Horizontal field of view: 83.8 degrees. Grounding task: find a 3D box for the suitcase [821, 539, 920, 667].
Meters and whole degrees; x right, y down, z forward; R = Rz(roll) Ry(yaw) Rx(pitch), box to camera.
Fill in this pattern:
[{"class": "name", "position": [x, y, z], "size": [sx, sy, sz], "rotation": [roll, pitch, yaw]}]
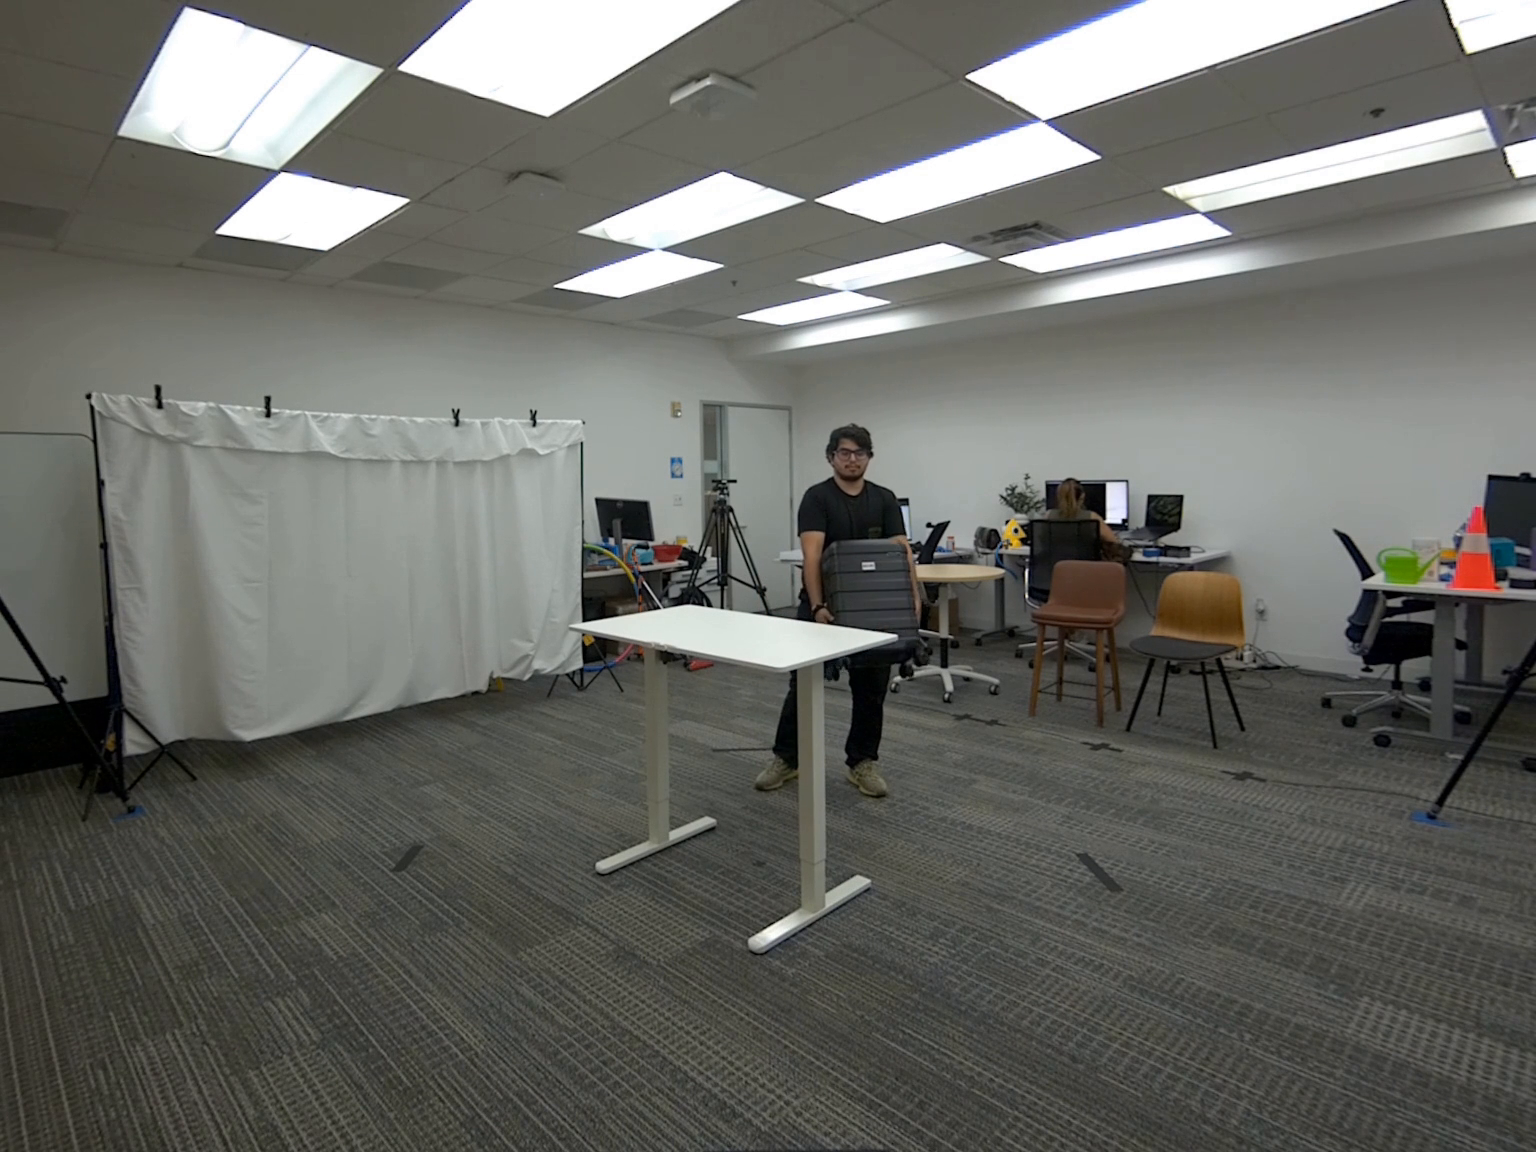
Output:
[{"class": "suitcase", "position": [0.414, 0.122, 3.533], "size": [0.374, 0.559, 0.245], "rotation": [-1, -19, -5]}]
